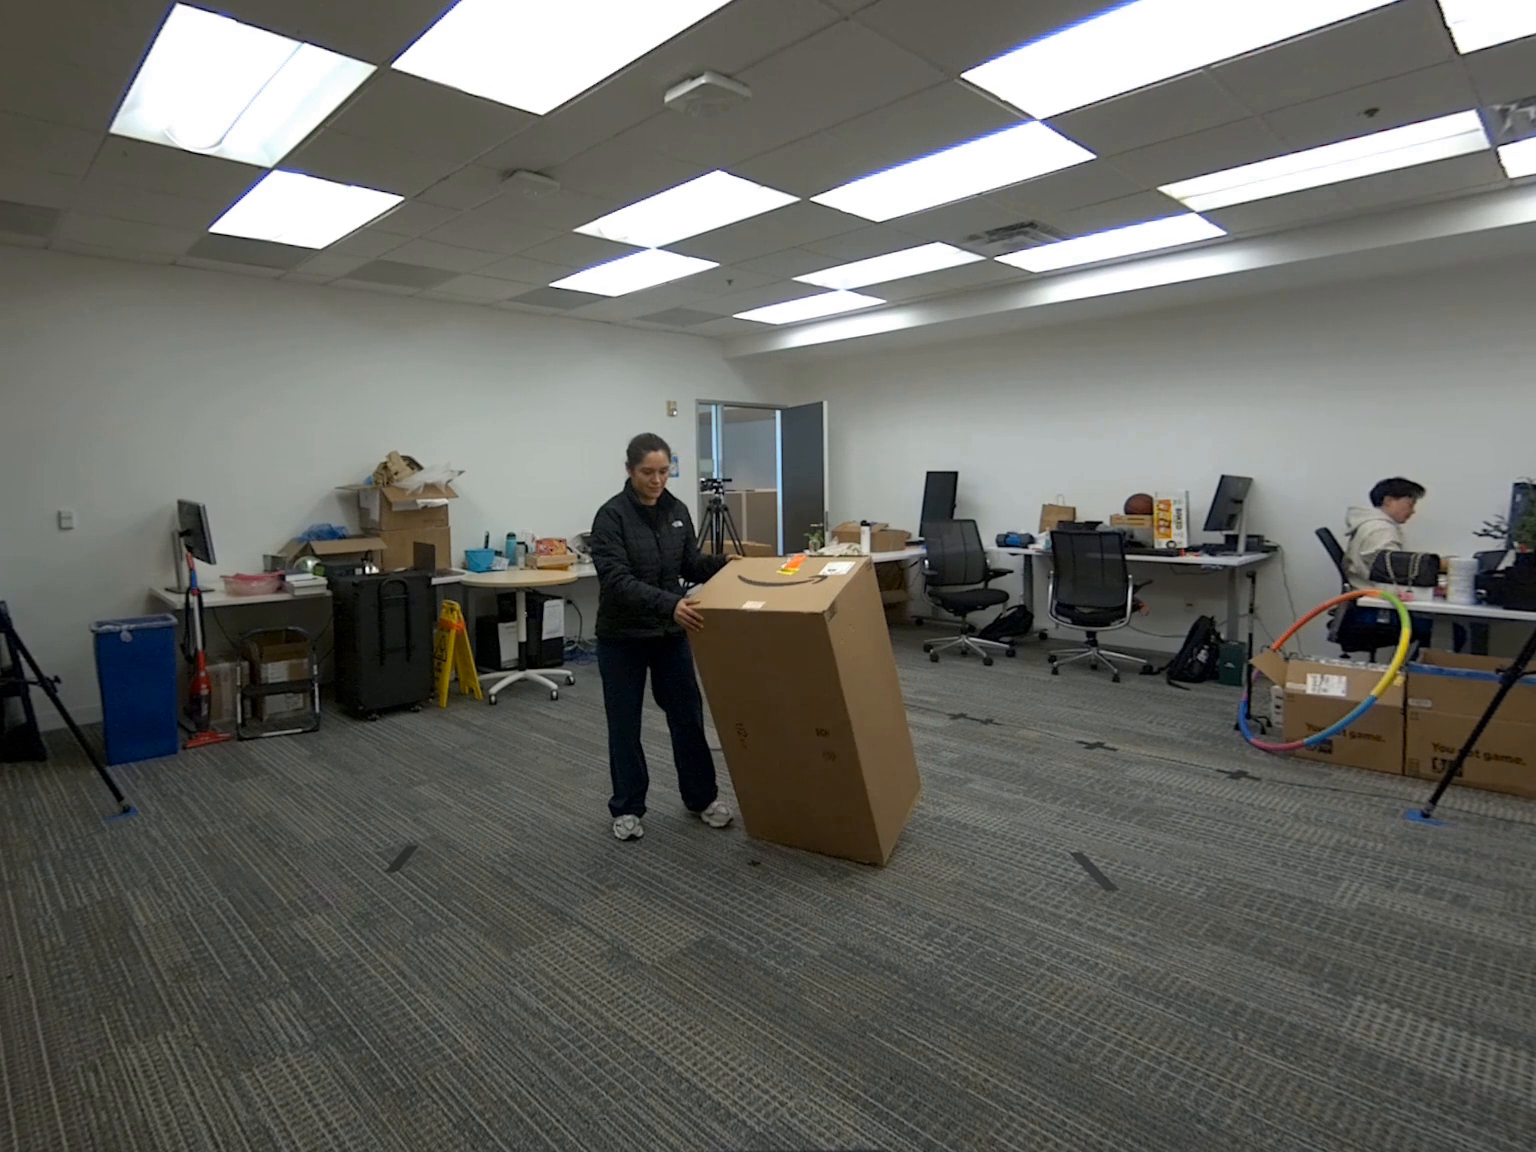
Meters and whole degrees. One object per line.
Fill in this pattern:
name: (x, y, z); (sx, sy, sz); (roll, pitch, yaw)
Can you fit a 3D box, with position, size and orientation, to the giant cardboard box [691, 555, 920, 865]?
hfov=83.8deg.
giant cardboard box: (0.147, 0.477, 3.196); (0.592, 1.004, 0.424); (-1, 24, 32)
